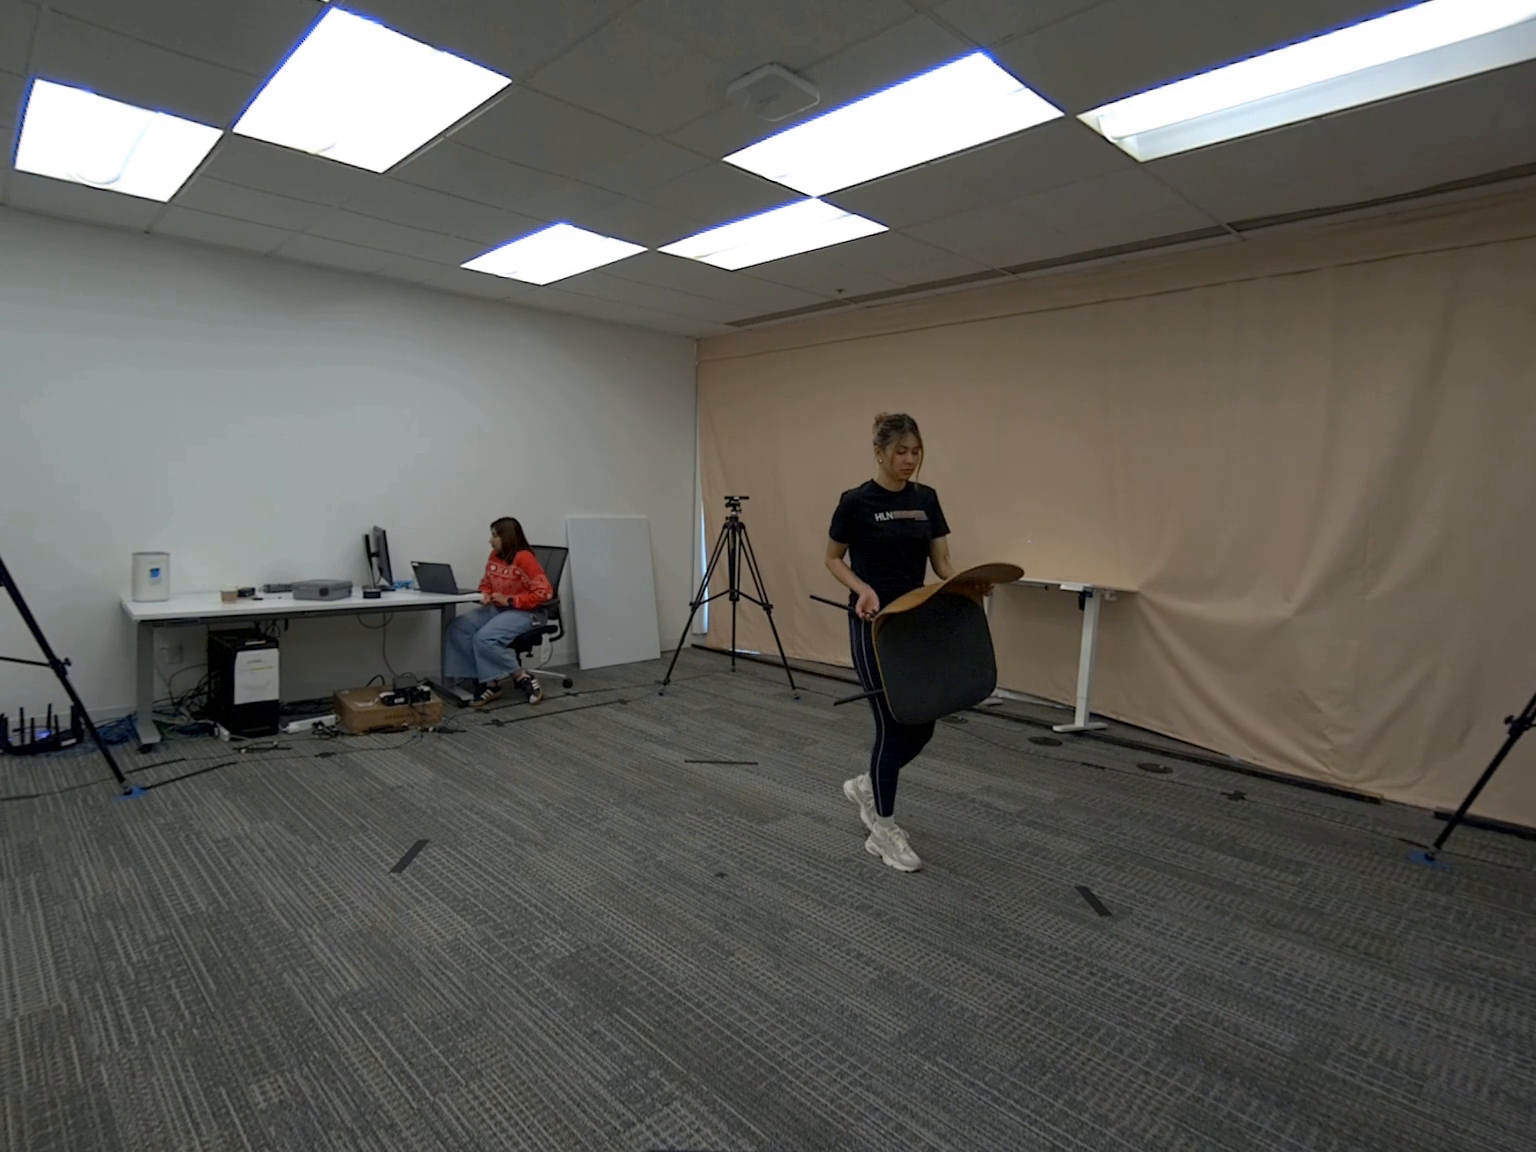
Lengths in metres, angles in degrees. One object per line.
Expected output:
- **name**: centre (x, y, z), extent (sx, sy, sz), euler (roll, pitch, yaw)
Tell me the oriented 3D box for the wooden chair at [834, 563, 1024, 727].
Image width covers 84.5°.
- **wooden chair**: centre (0.576, 0.248, 3.039), extent (0.472, 0.524, 0.886), euler (-12, -1, -21)
